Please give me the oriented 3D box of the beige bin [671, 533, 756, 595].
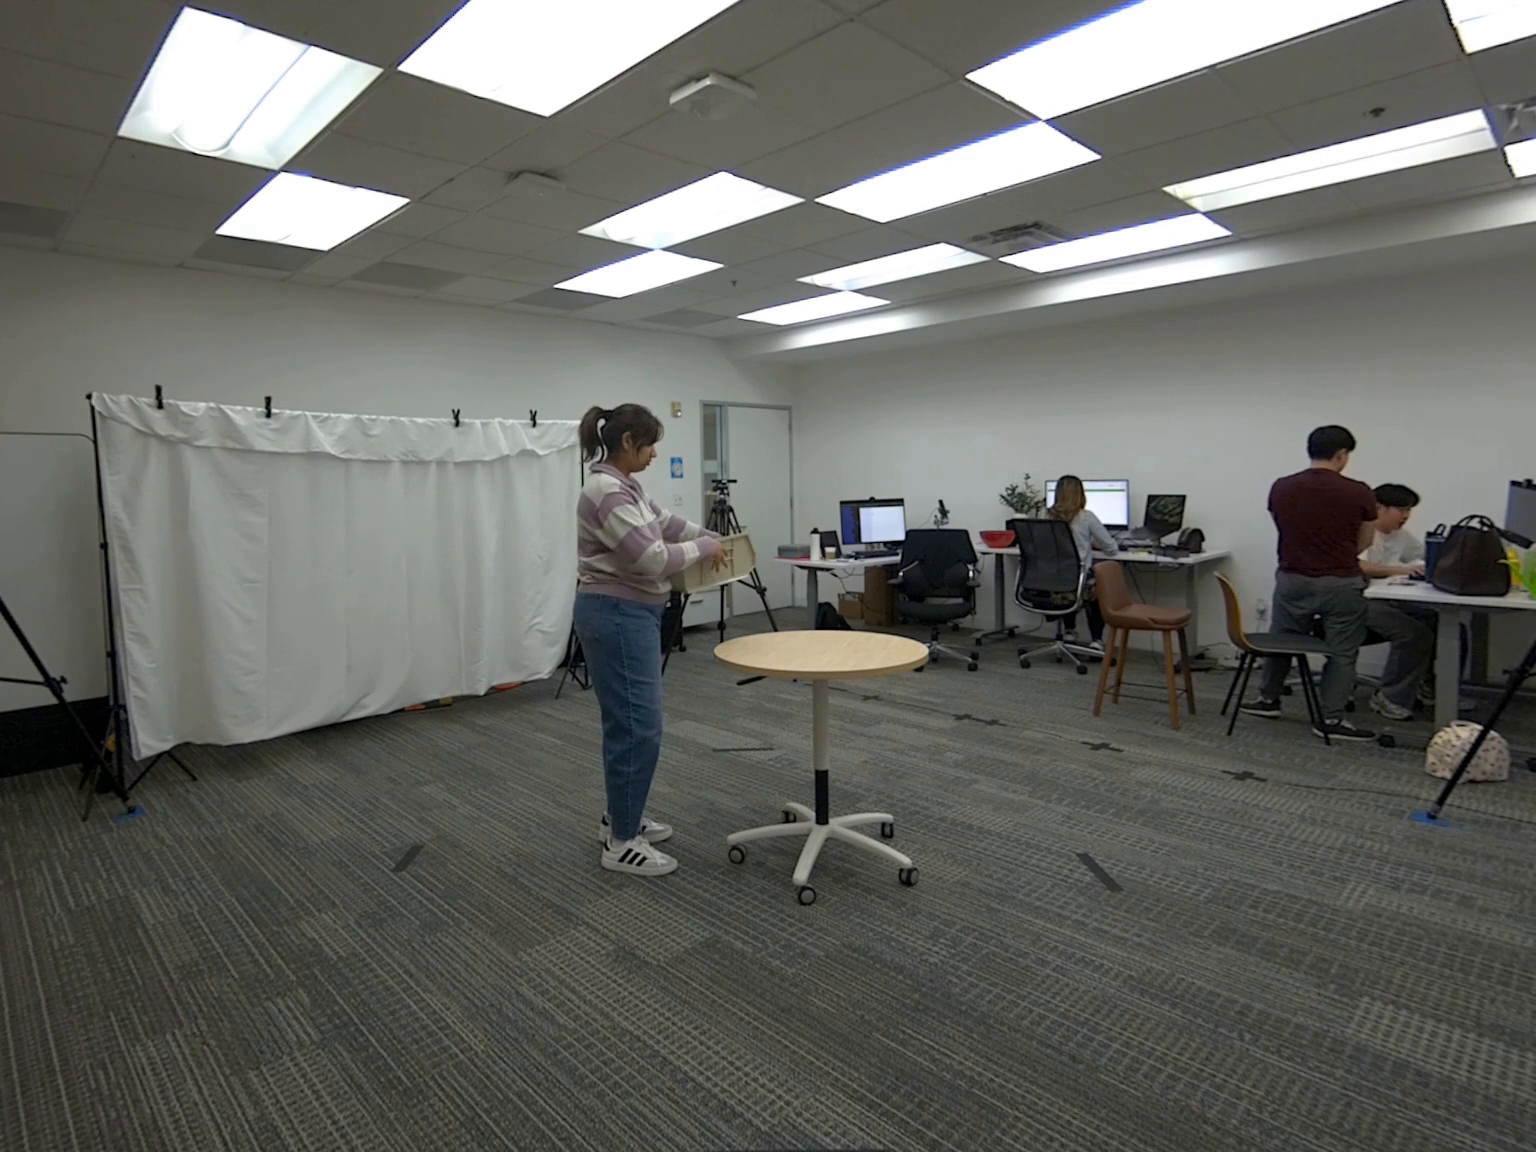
[{"bbox_3d":[-0.322,-0.076,3.402,0.369,0.187,0.436,-17,17,-42],"label":"beige bin"}]
